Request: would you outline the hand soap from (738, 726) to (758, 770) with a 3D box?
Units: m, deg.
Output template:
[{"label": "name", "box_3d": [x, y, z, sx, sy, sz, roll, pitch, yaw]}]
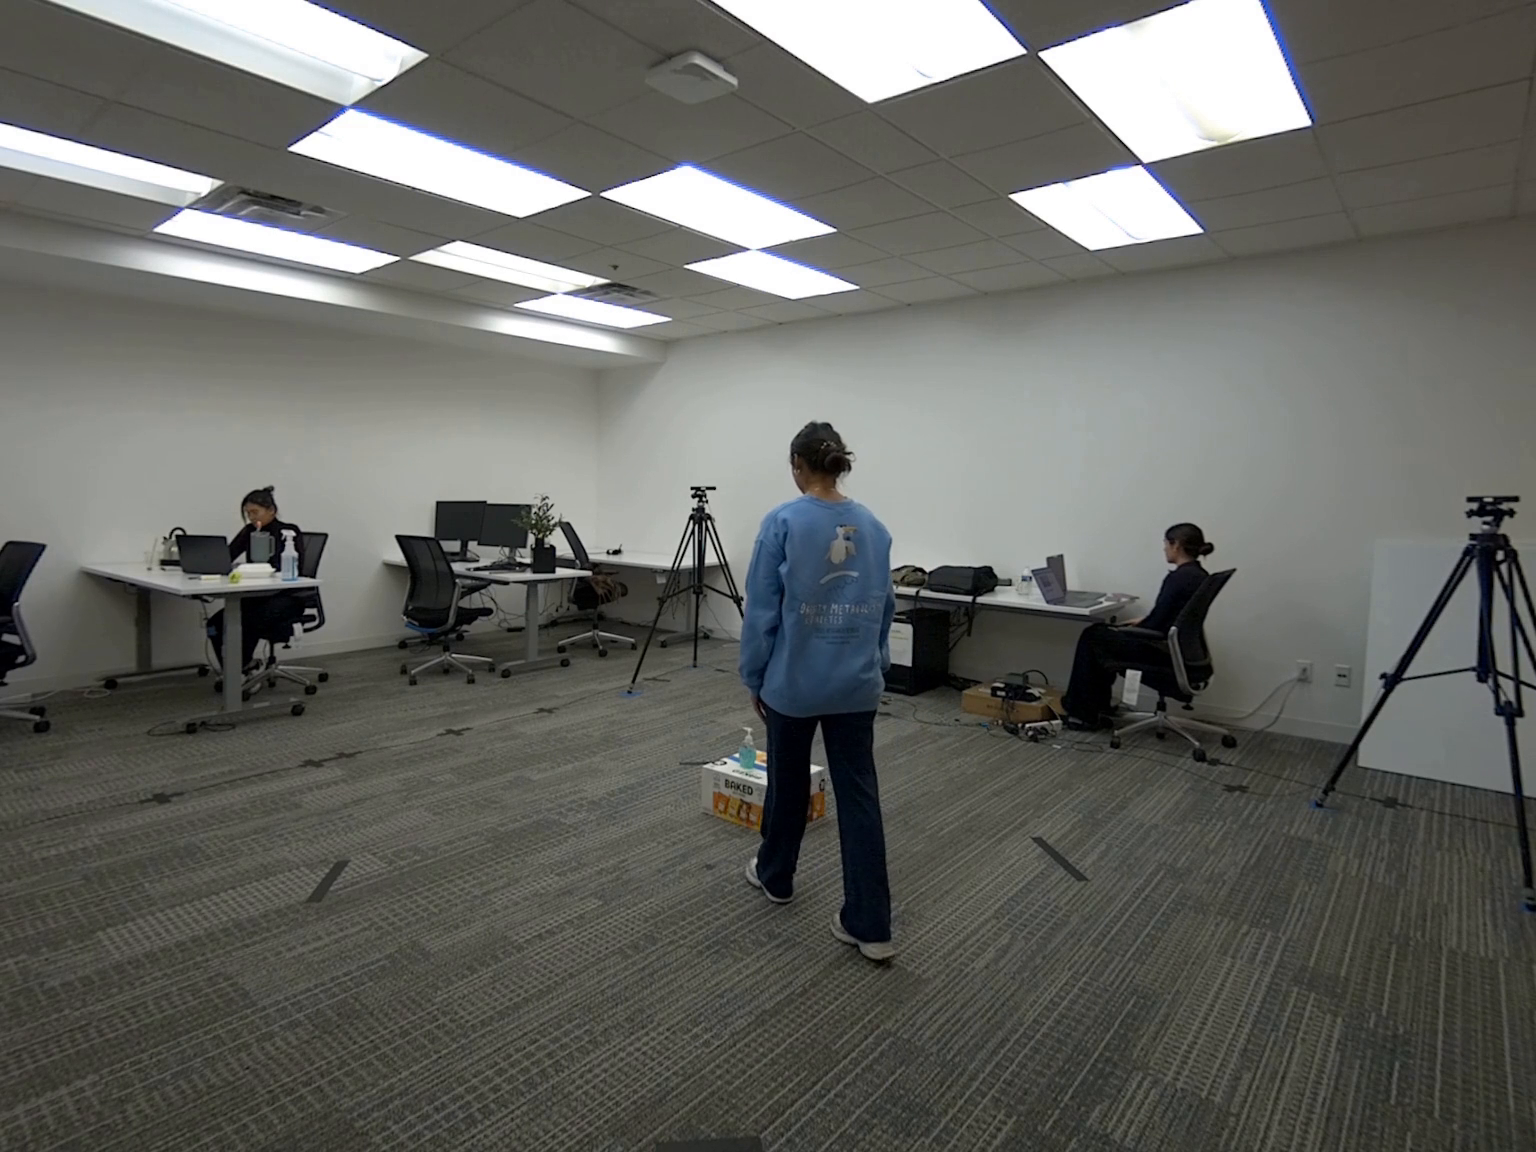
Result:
[{"label": "hand soap", "box_3d": [-0.101, 0.730, 3.645, 0.087, 0.168, 0.042, 7, 4, 38]}]
